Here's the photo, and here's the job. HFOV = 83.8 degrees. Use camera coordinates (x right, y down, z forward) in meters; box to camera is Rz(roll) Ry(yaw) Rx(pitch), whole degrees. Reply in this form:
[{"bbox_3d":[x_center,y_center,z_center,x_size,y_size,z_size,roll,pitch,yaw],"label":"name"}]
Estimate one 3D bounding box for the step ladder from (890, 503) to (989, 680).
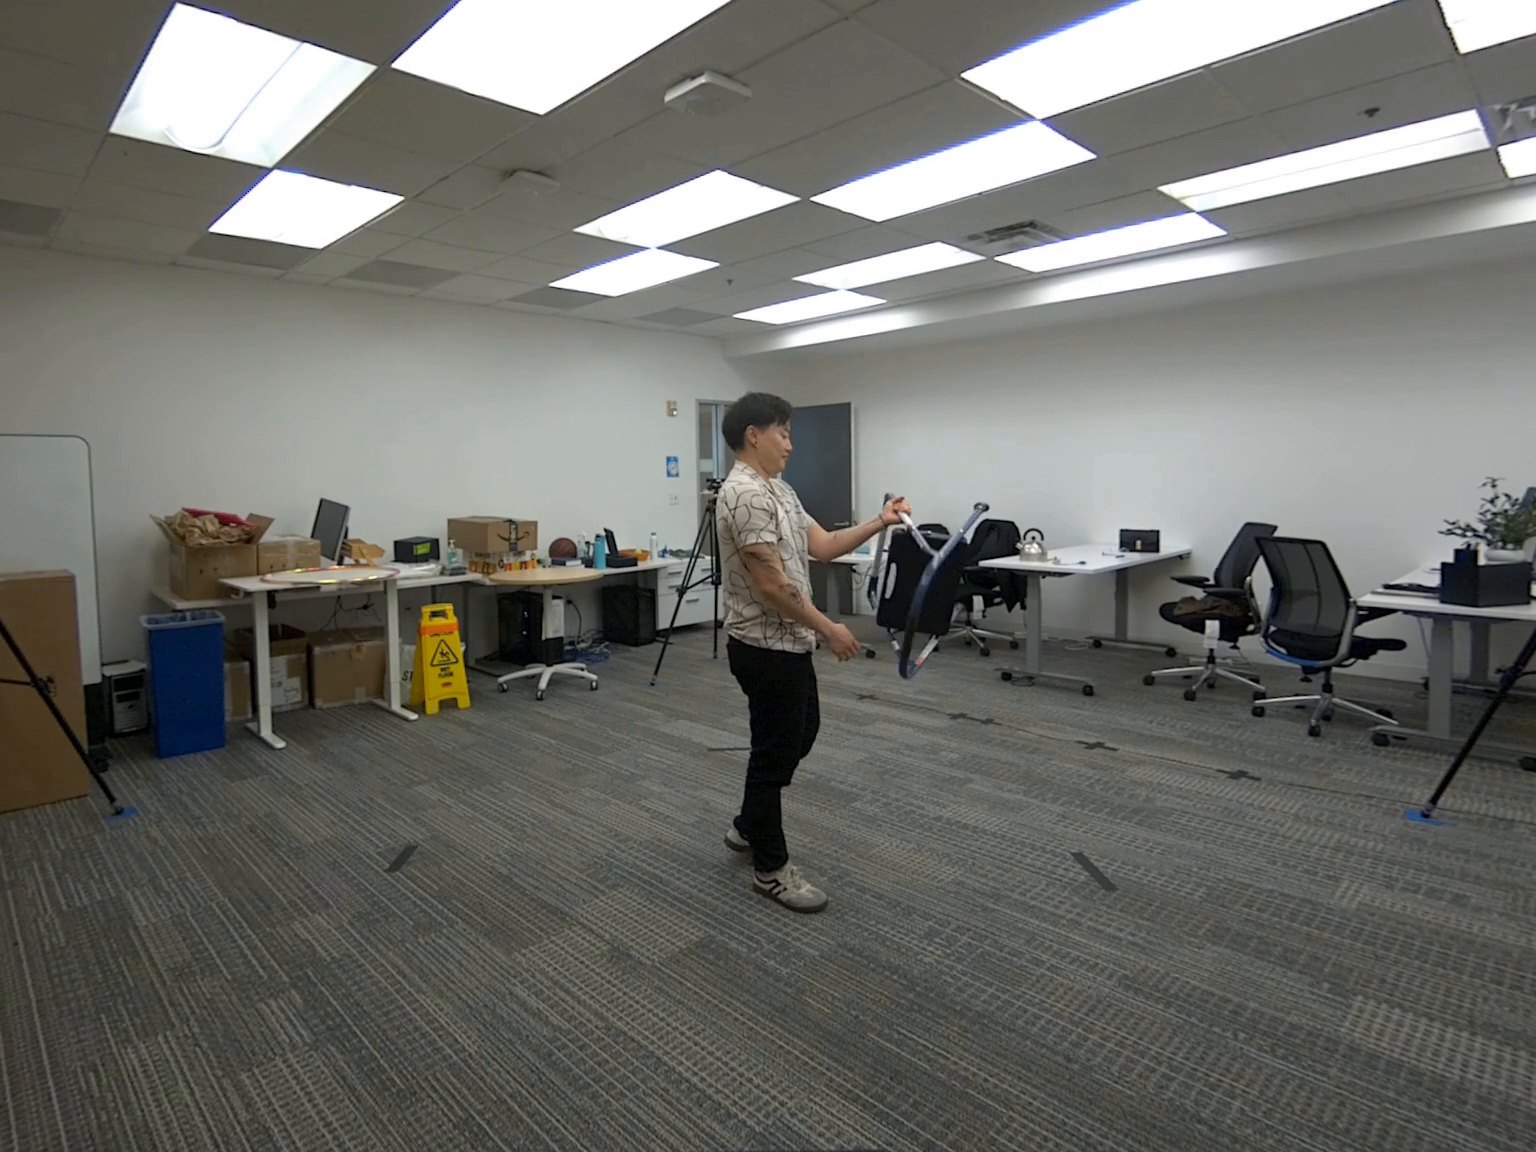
[{"bbox_3d":[0.507,0.037,2.738,0.352,0.422,0.613,7,26,5],"label":"step ladder"}]
